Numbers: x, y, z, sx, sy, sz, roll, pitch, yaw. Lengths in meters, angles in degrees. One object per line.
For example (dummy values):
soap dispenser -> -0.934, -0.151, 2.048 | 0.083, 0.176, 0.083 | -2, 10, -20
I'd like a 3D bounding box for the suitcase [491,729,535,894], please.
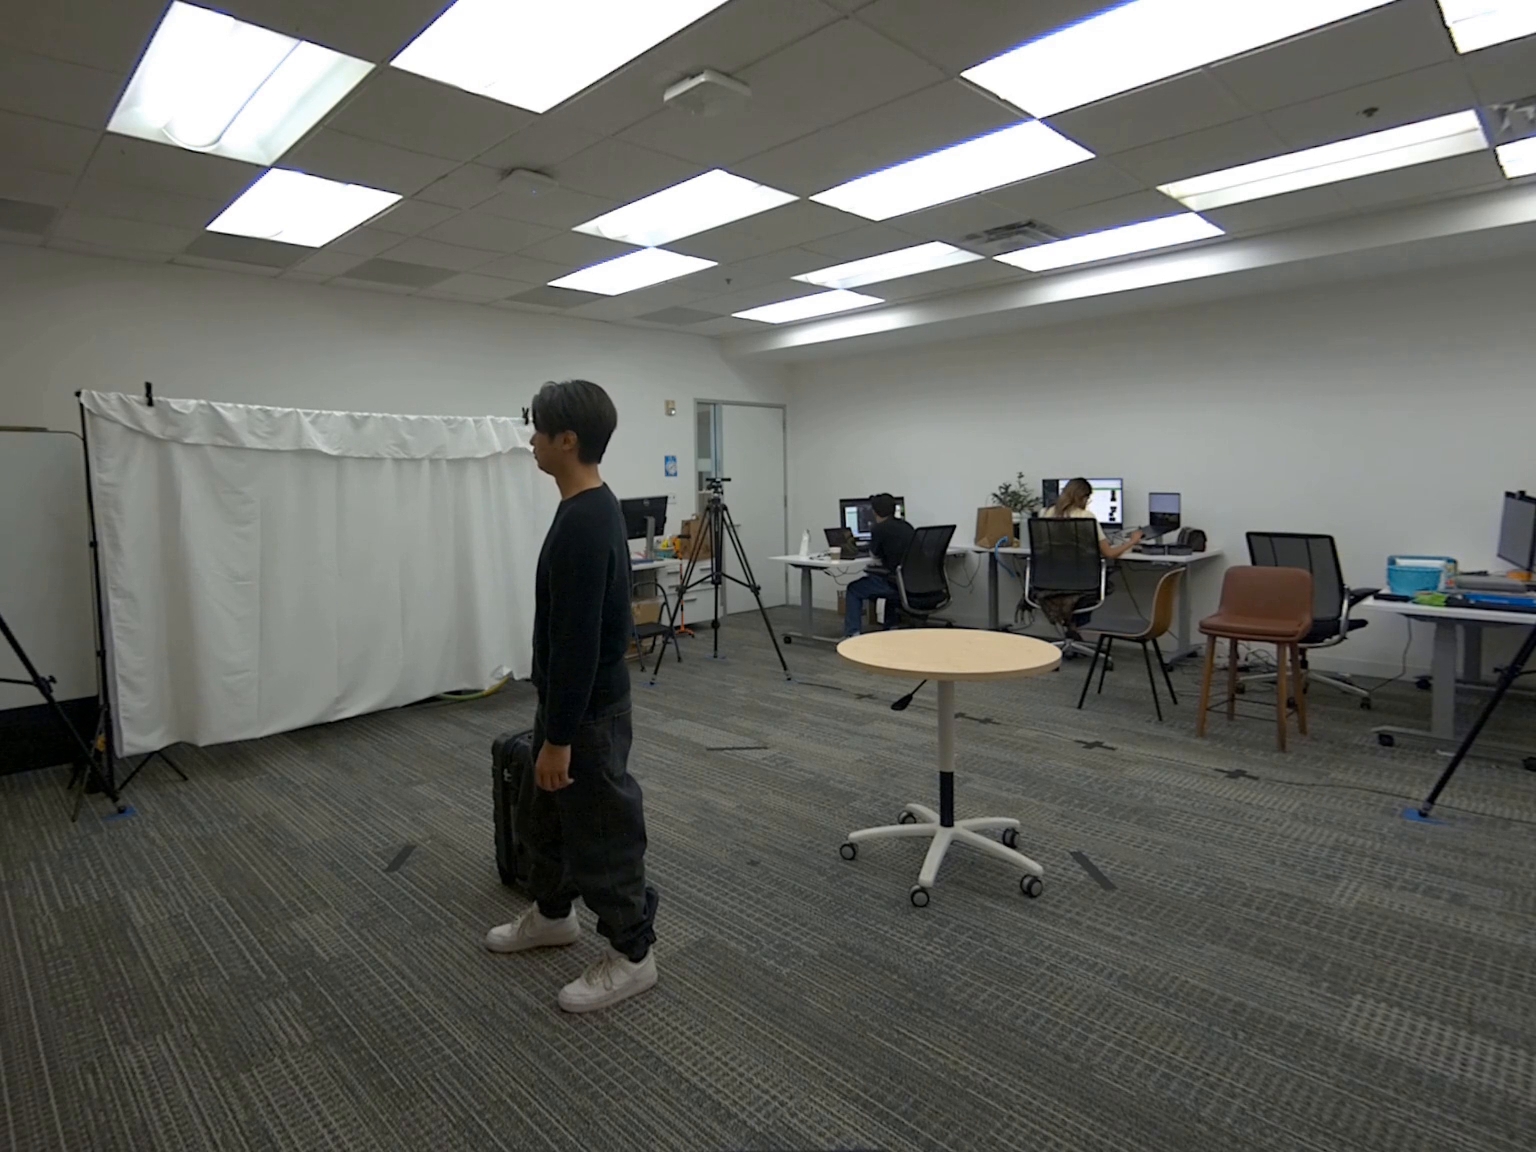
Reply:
suitcase -> -0.769, 0.796, 3.002 | 0.255, 0.547, 0.366 | 1, 6, 38
